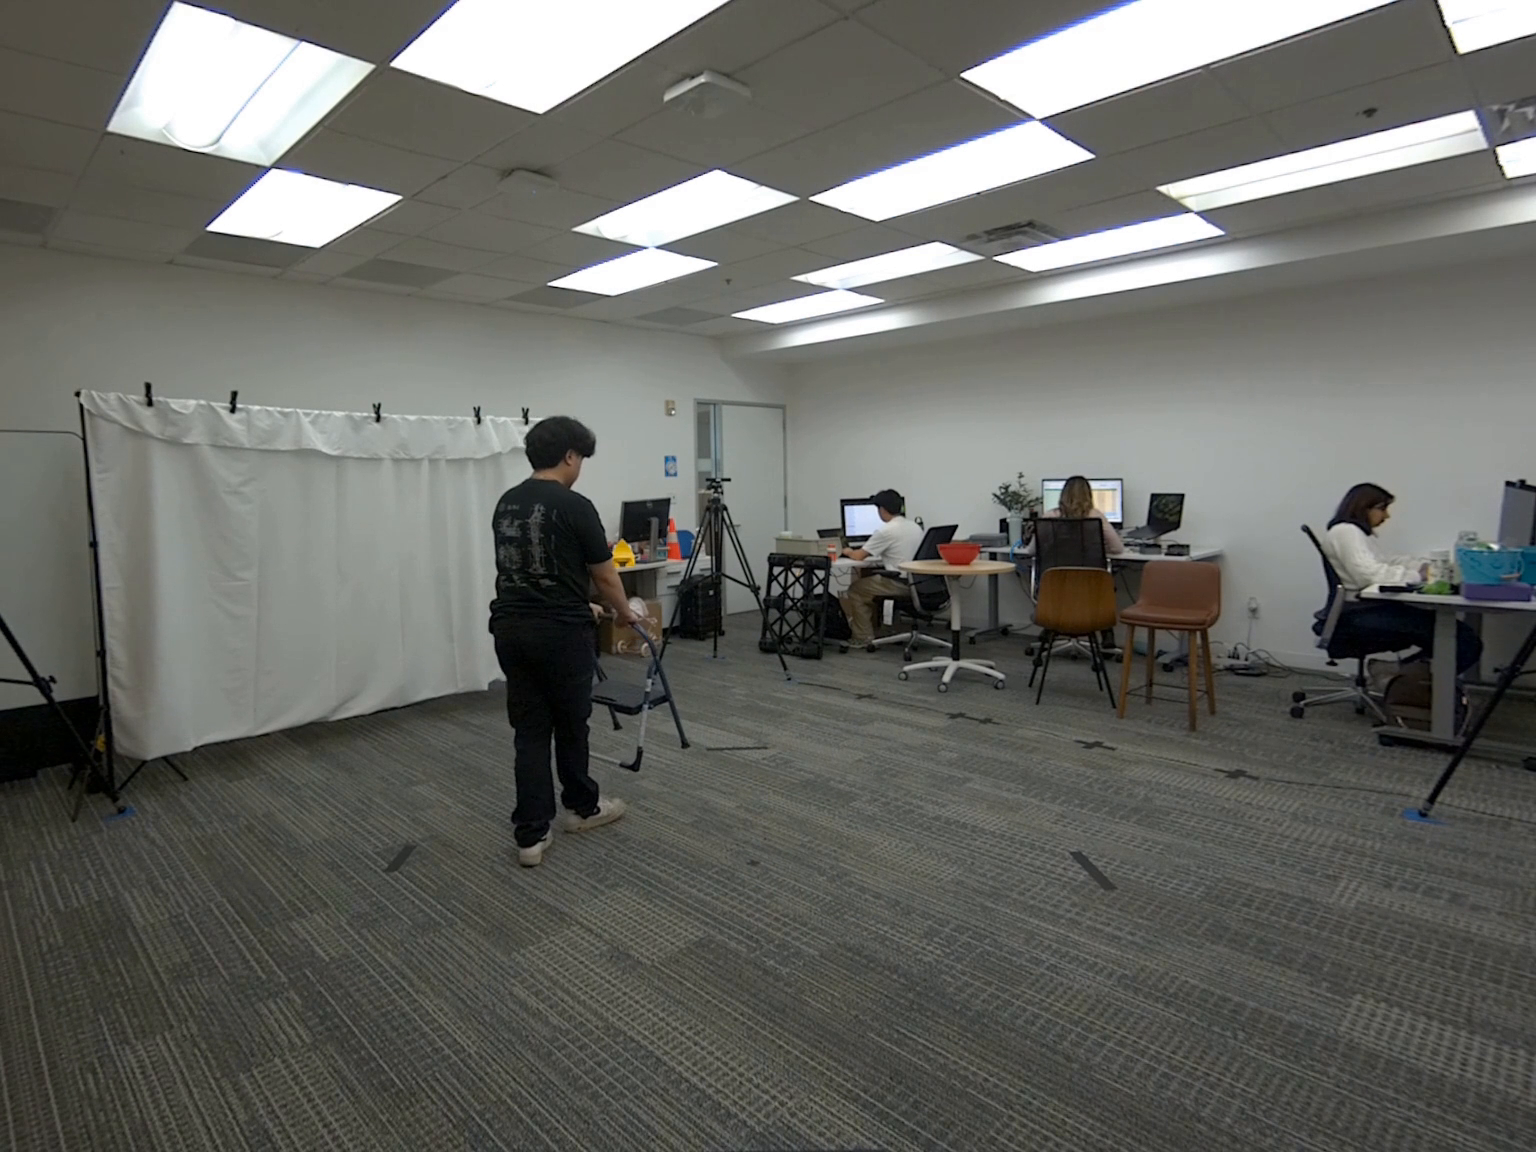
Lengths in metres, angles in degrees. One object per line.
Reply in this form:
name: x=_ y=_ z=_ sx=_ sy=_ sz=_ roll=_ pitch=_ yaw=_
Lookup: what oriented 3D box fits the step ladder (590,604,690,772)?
step ladder: x=-0.611 y=0.449 z=3.641 sx=0.443 sy=0.601 sz=0.342 roll=6 pitch=10 yaw=34
